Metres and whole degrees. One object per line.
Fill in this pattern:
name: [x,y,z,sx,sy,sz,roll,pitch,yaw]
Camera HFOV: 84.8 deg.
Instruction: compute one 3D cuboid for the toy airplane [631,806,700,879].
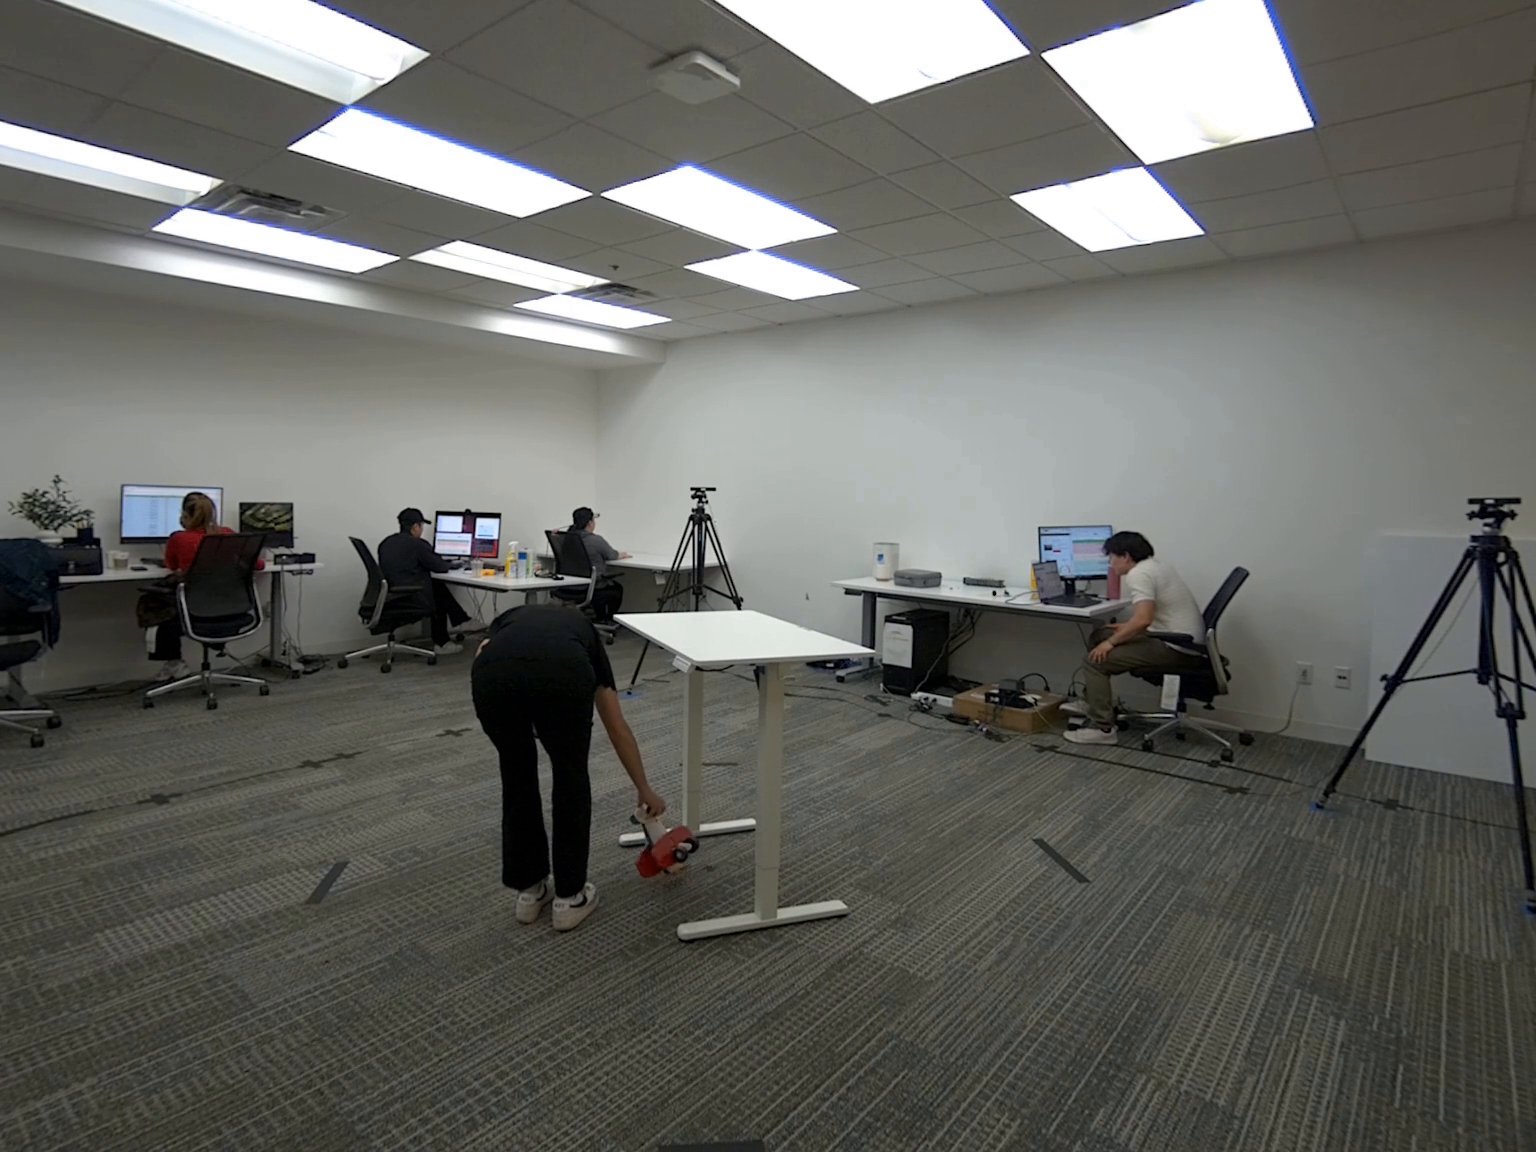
toy airplane: [-0.377,0.919,3.015,0.241,0.156,0.270,19,28,-45]
